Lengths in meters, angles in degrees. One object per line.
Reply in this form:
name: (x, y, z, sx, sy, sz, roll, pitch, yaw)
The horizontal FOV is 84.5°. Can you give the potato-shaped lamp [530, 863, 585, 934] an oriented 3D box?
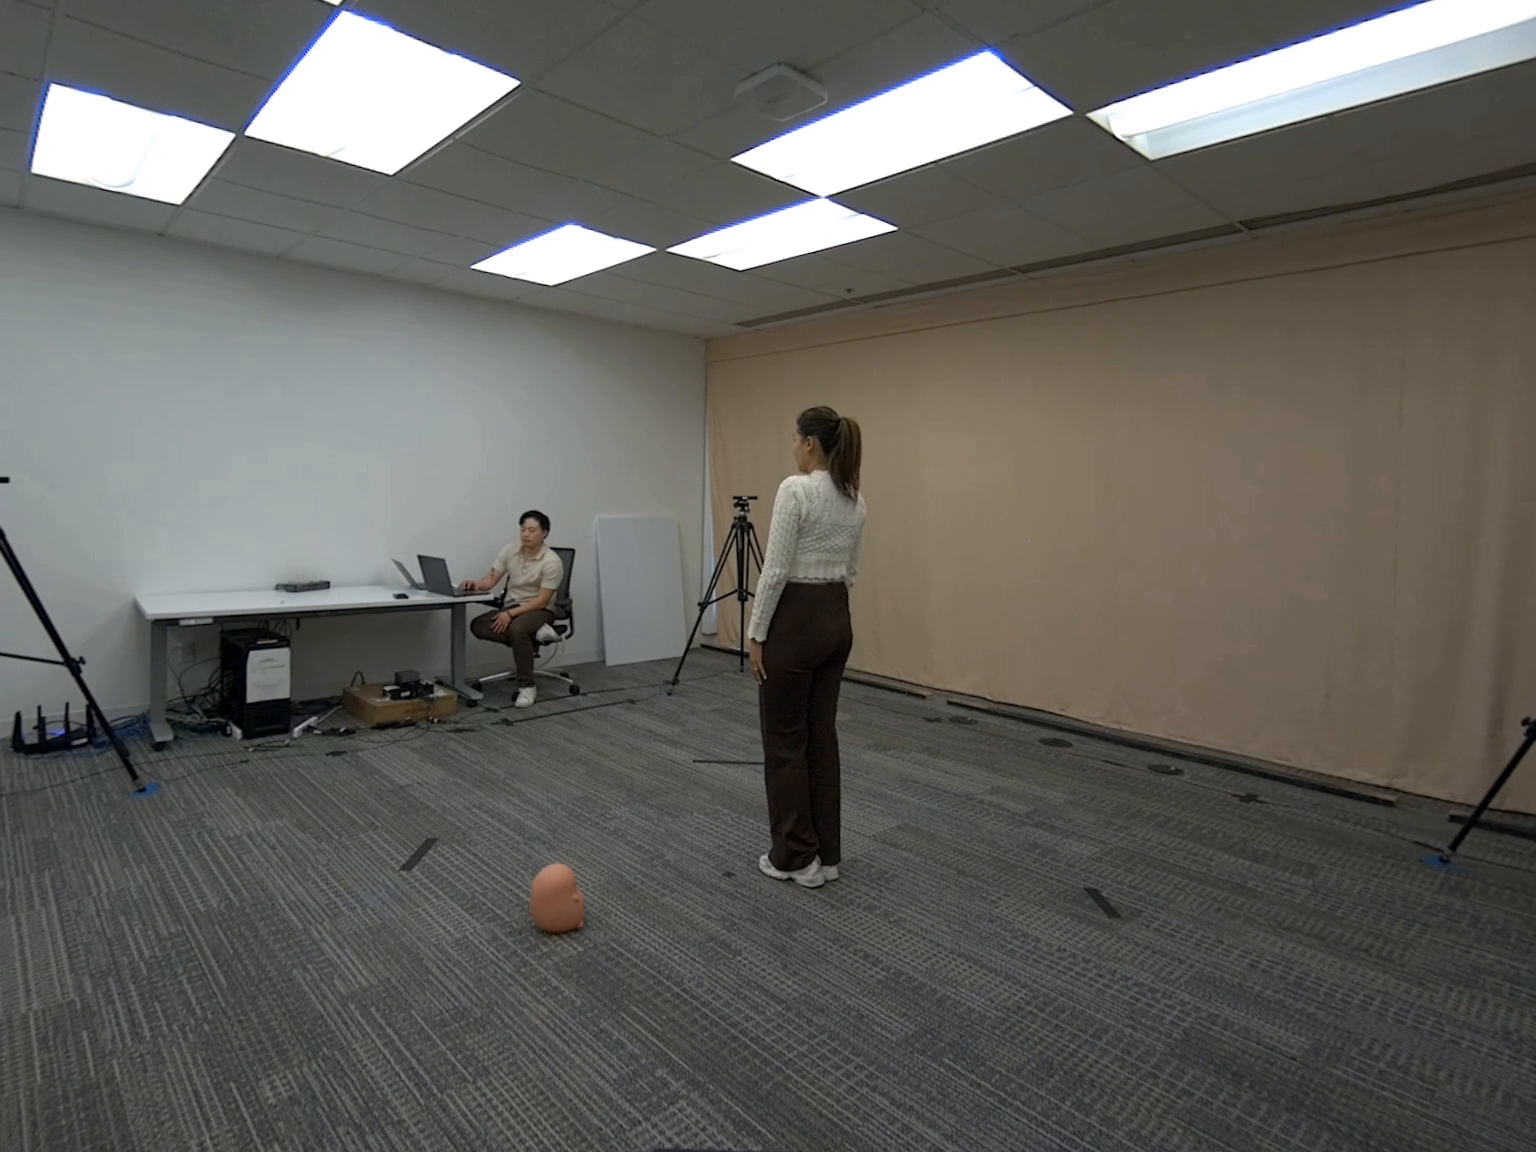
potato-shaped lamp: (-0.682, 1.029, 2.706, 0.169, 0.197, 0.168, -1, 6, -20)
